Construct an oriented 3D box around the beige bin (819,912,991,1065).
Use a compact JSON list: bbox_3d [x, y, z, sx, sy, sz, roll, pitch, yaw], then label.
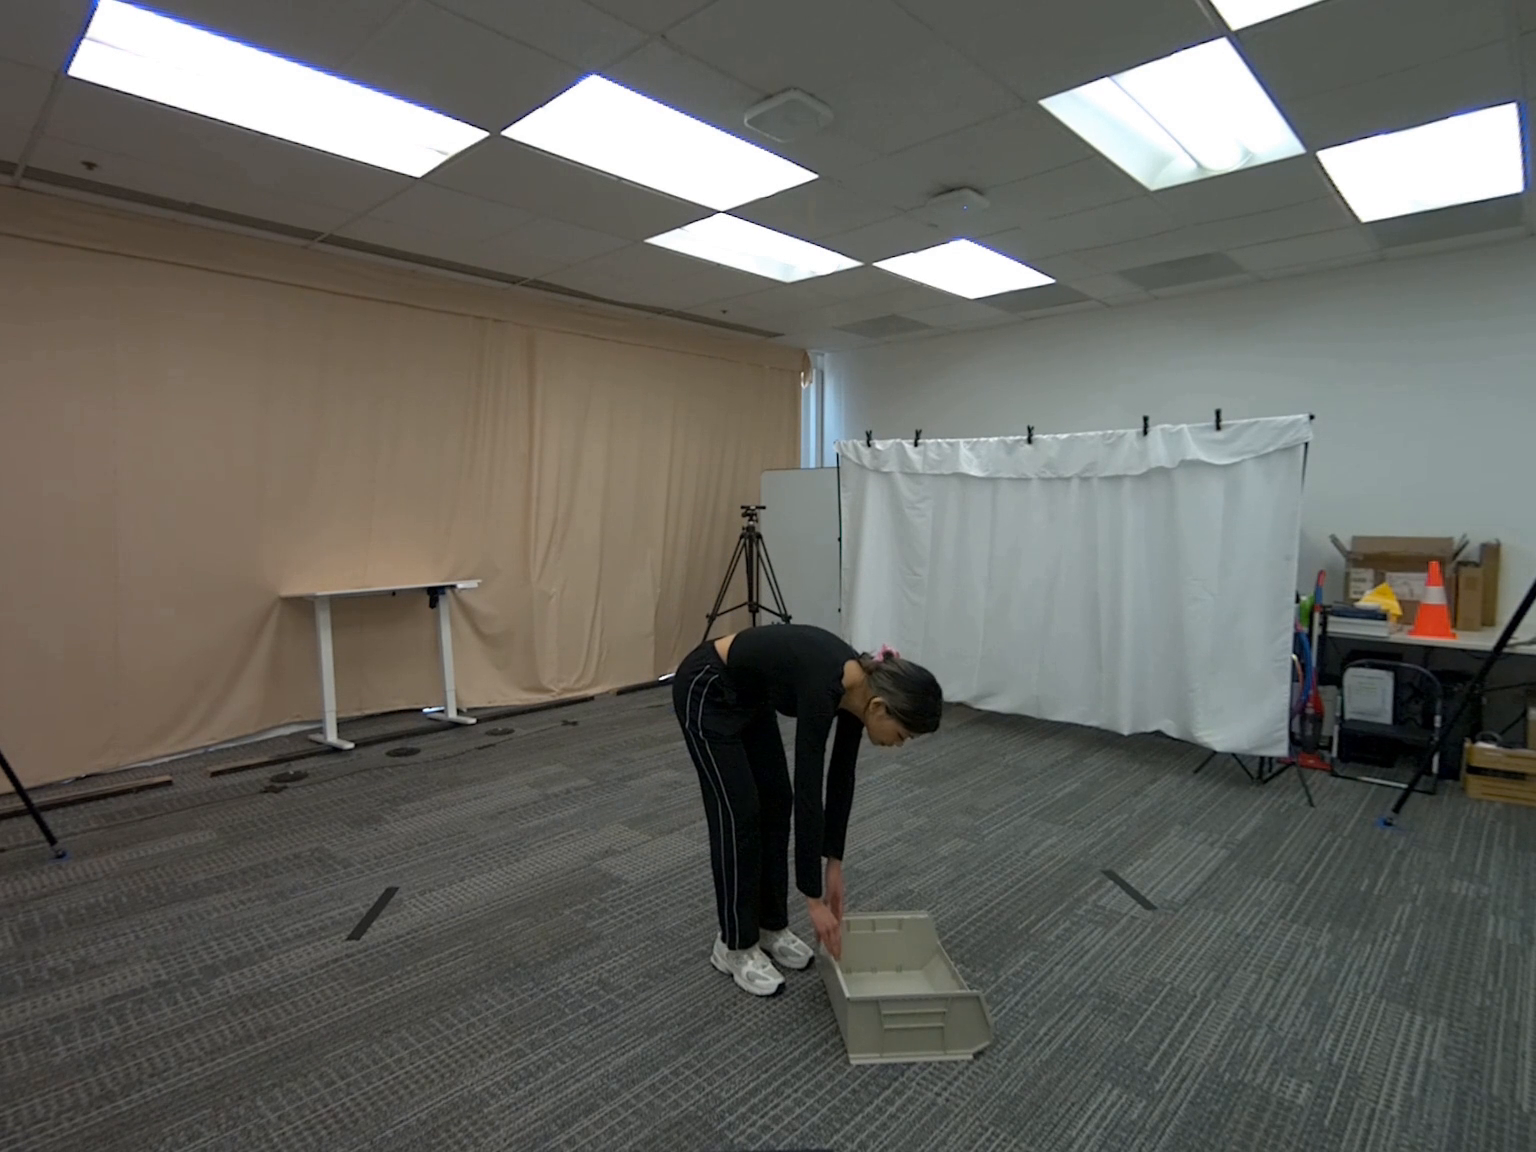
[{"bbox_3d":[0.358,1.111,2.305,0.375,0.188,0.426,-2,6,-7],"label":"beige bin"}]
